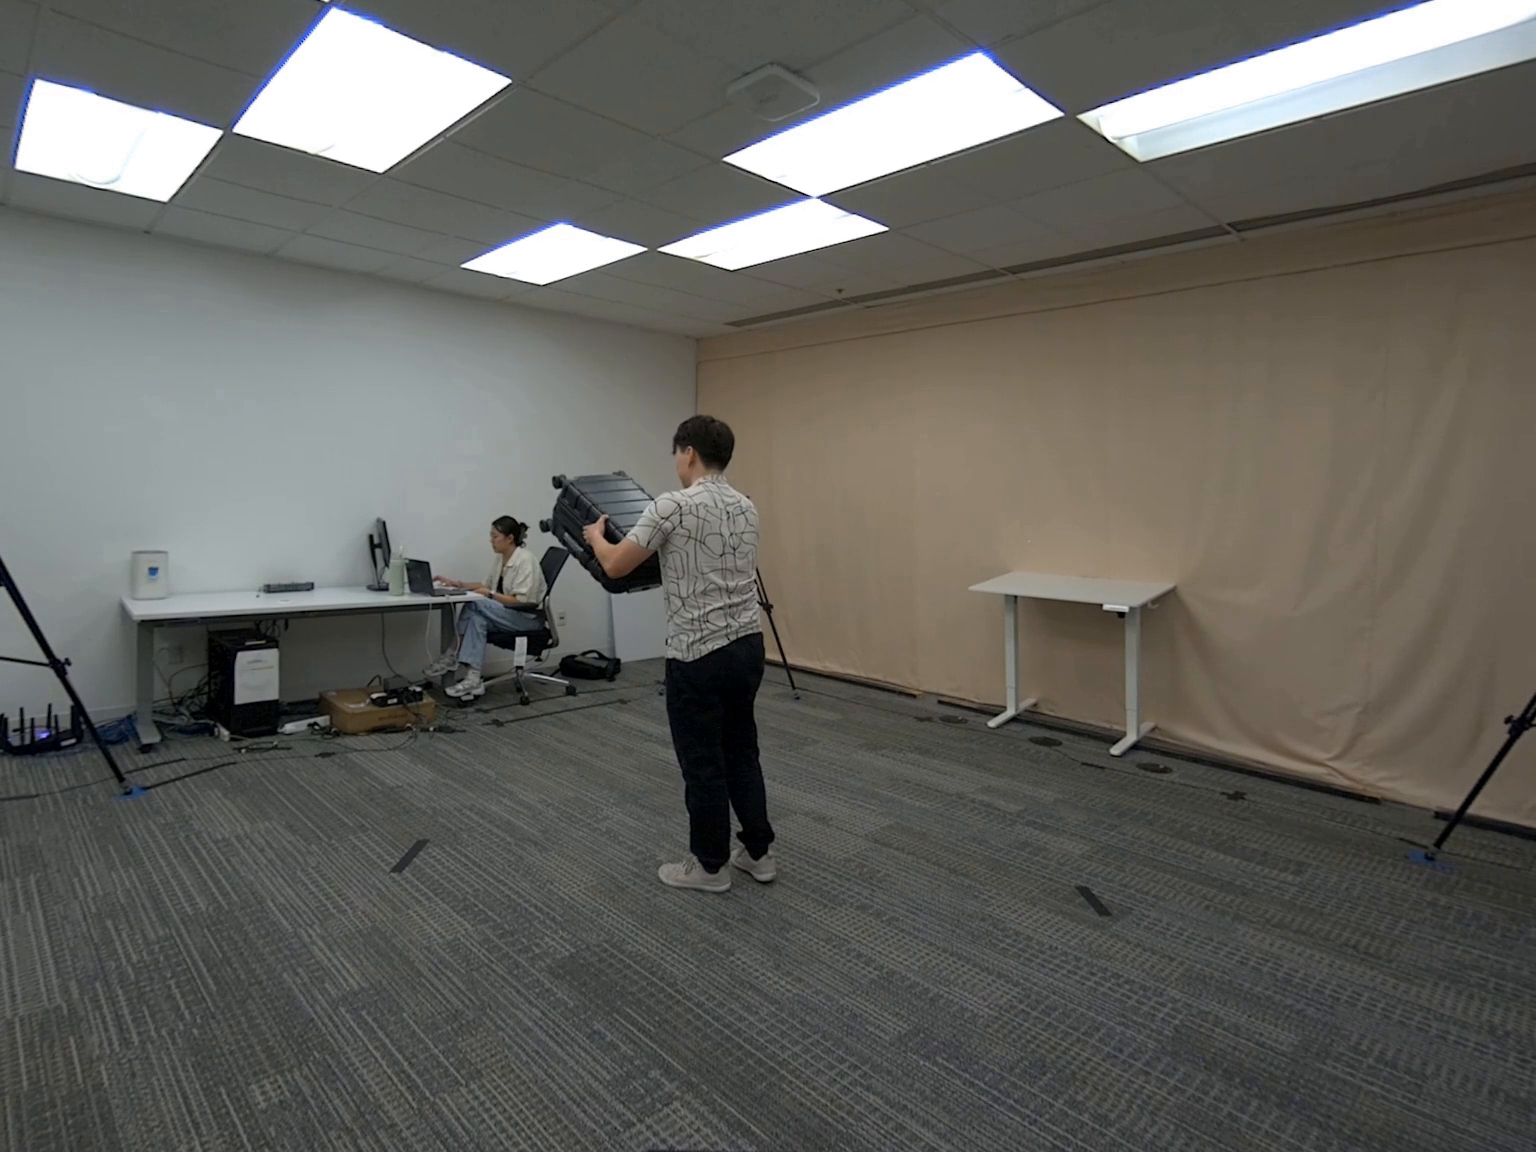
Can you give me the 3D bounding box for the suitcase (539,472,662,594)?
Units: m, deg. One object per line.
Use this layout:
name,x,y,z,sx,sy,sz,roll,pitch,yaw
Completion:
suitcase,-0.614,-0.177,3.336,0.368,0.246,0.566,-9,39,-45
